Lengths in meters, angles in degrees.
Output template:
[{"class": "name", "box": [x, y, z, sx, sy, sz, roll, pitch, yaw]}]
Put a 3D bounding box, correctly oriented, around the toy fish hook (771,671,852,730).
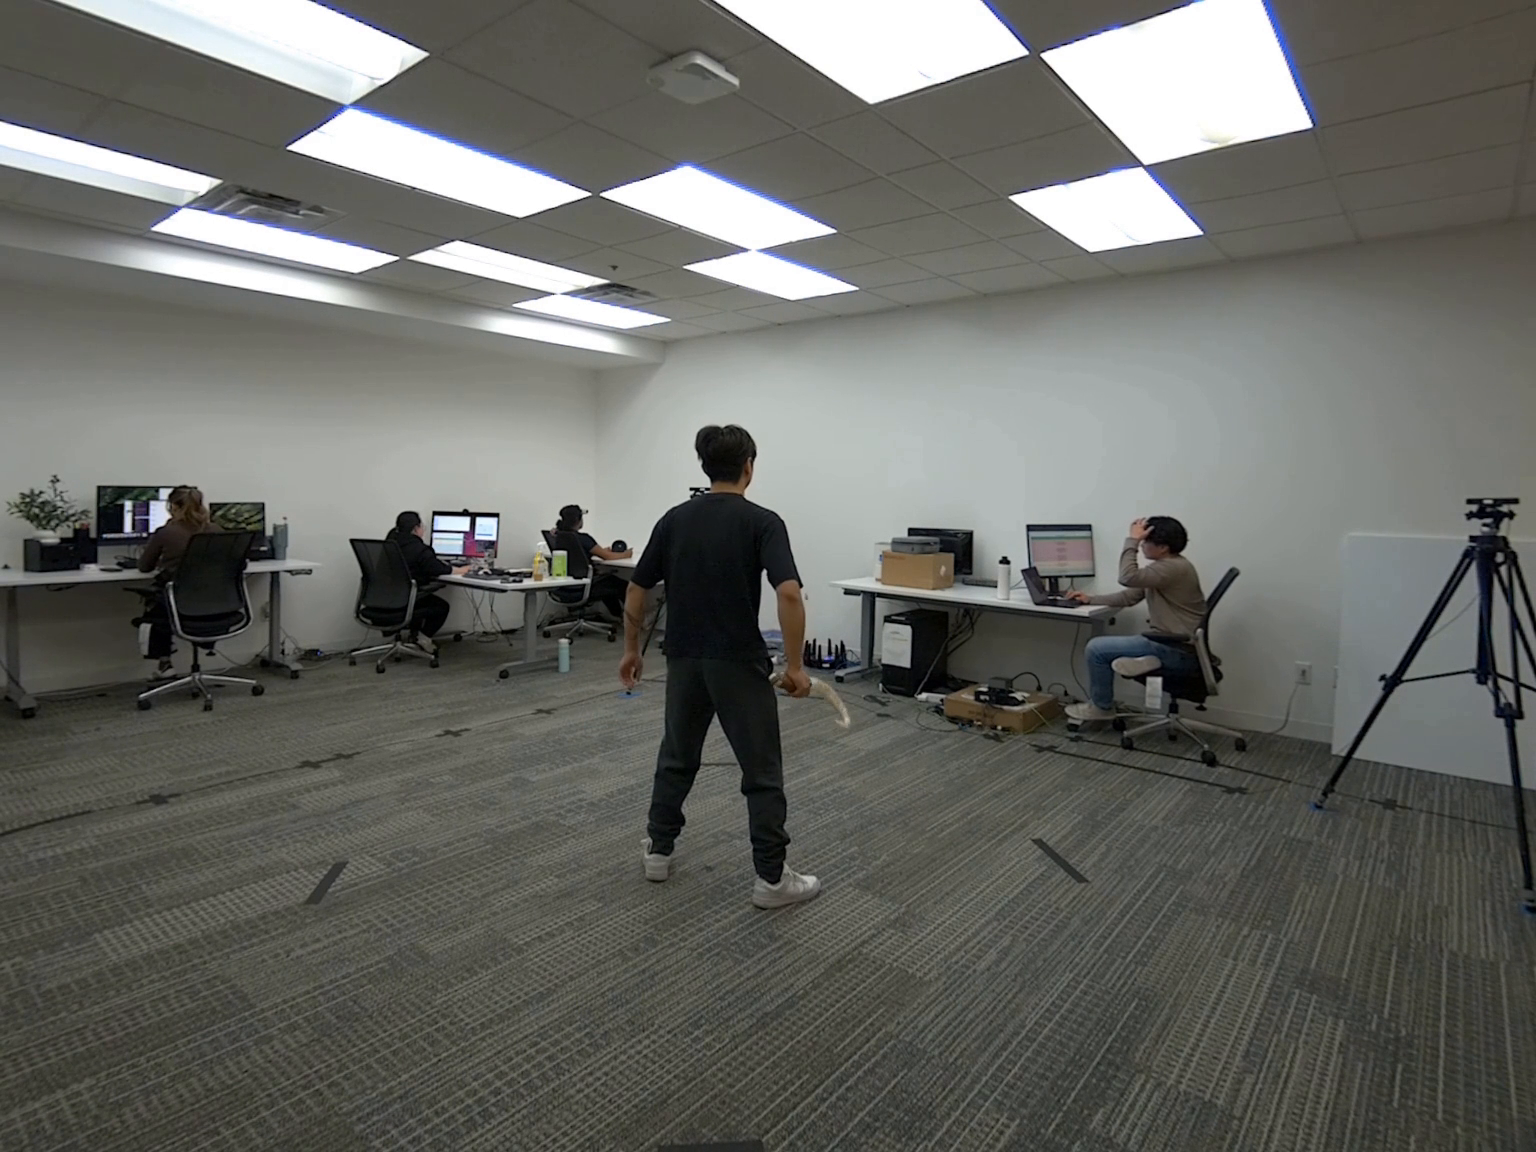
[{"class": "toy fish hook", "box": [0.147, 0.393, 2.851, 0.233, 0.048, 0.488, 48, 13, 28]}]
